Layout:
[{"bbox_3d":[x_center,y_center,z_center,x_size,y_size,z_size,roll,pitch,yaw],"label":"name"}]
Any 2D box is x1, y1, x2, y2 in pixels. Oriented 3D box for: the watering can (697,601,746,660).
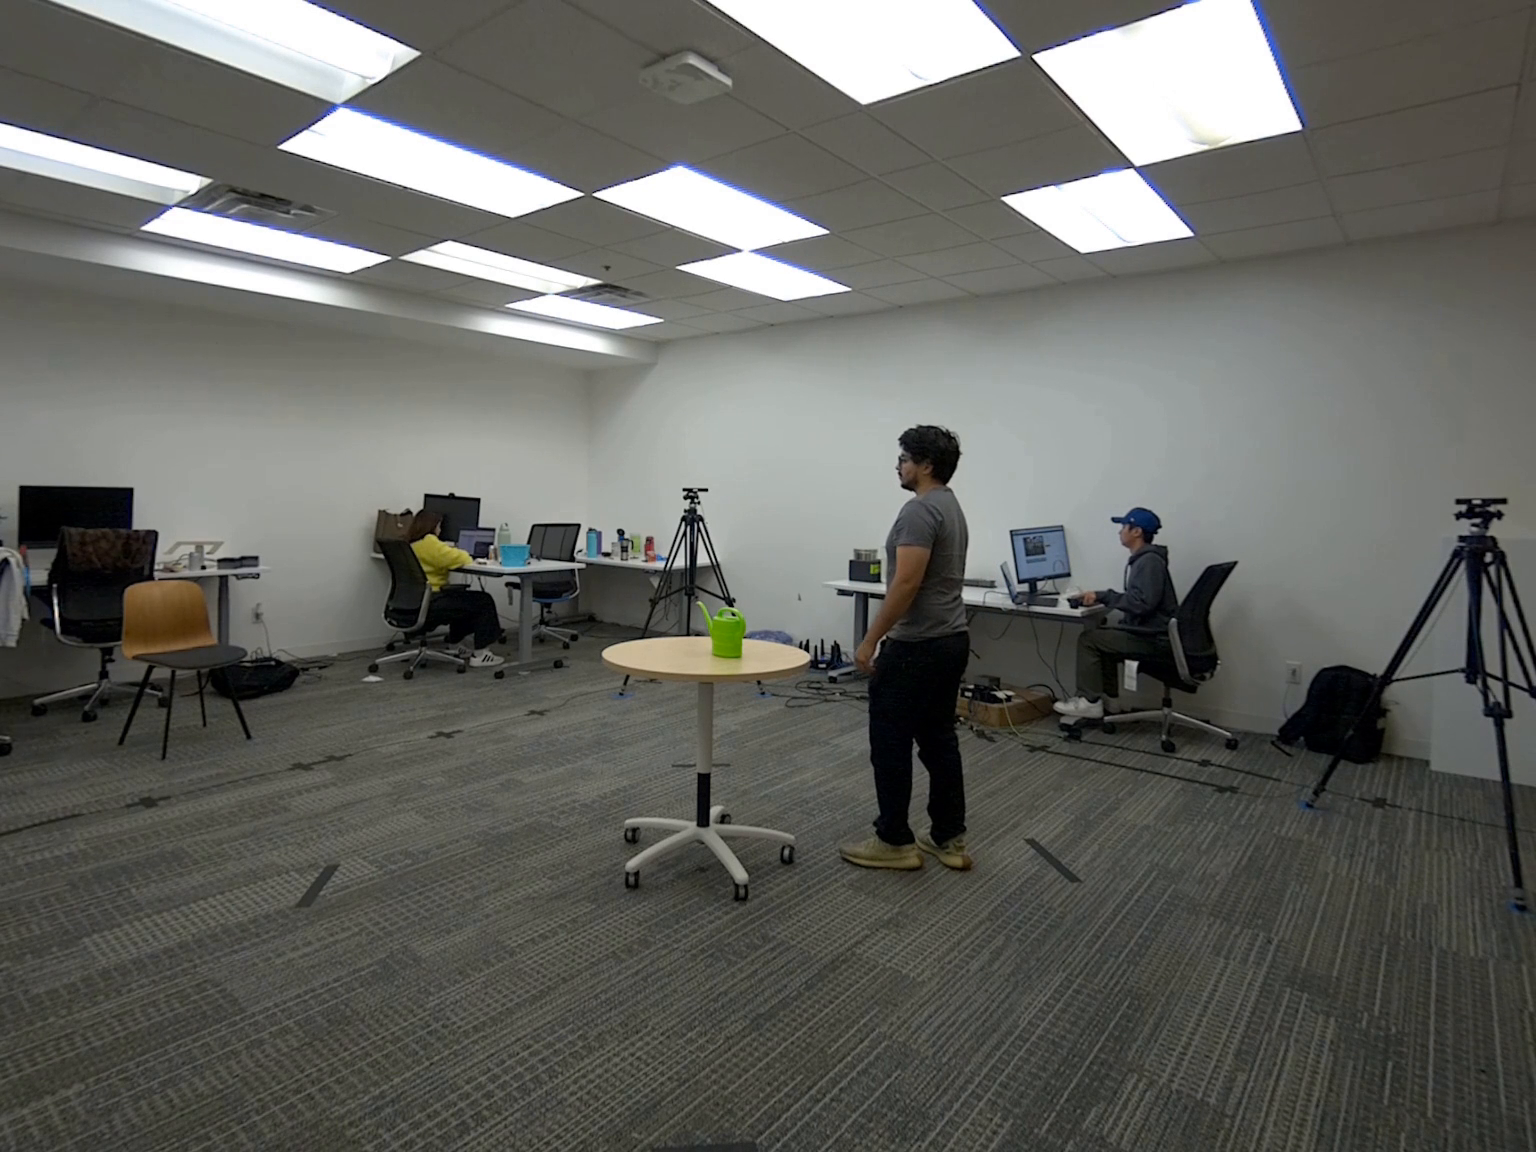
[{"bbox_3d":[-0.181,0.194,3.148,0.096,0.176,0.286,-2,7,-25],"label":"watering can"}]
